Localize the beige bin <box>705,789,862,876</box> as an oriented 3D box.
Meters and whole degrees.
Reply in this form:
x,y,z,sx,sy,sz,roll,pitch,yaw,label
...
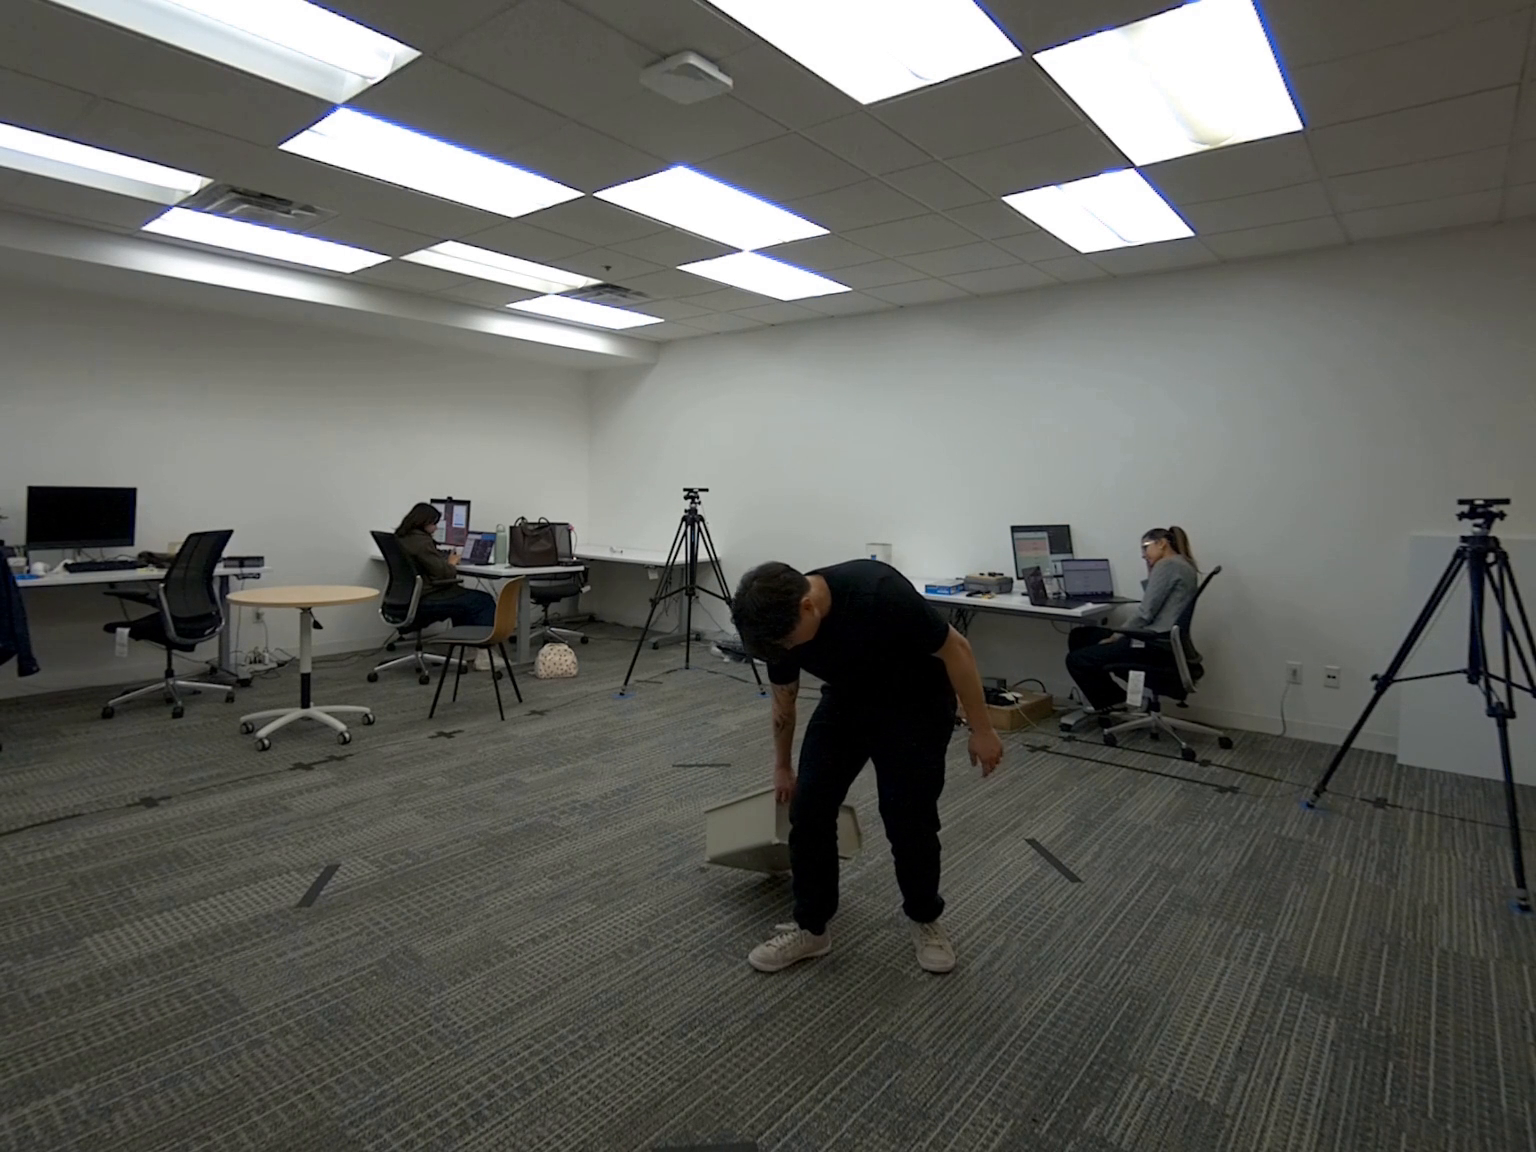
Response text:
x,y,z,sx,sy,sz,roll,pitch,yaw,label
0.032,0.881,2.915,0.364,0.193,0.427,21,-35,-32,beige bin
